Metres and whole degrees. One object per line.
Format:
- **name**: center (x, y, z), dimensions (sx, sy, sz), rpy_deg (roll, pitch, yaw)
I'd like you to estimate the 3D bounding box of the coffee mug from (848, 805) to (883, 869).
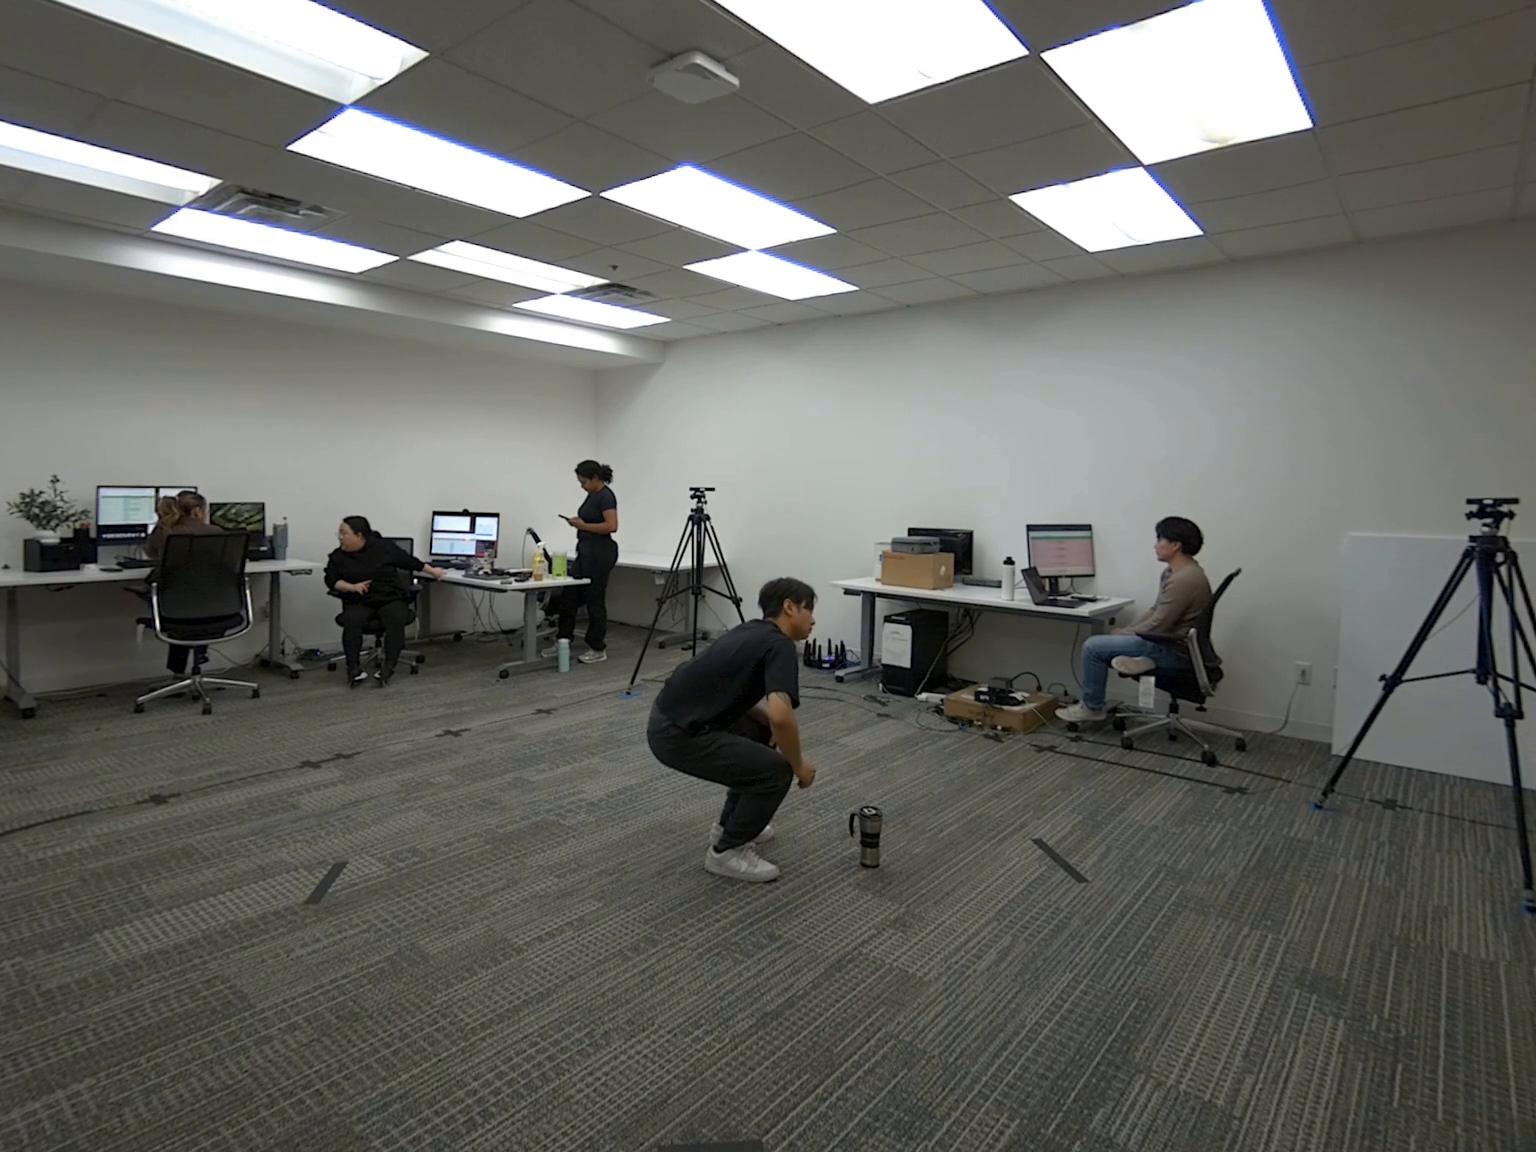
- **coffee mug**: center (0.360, 0.974, 3.190), dimensions (0.126, 0.201, 0.085), rpy_deg (7, 10, 40)
